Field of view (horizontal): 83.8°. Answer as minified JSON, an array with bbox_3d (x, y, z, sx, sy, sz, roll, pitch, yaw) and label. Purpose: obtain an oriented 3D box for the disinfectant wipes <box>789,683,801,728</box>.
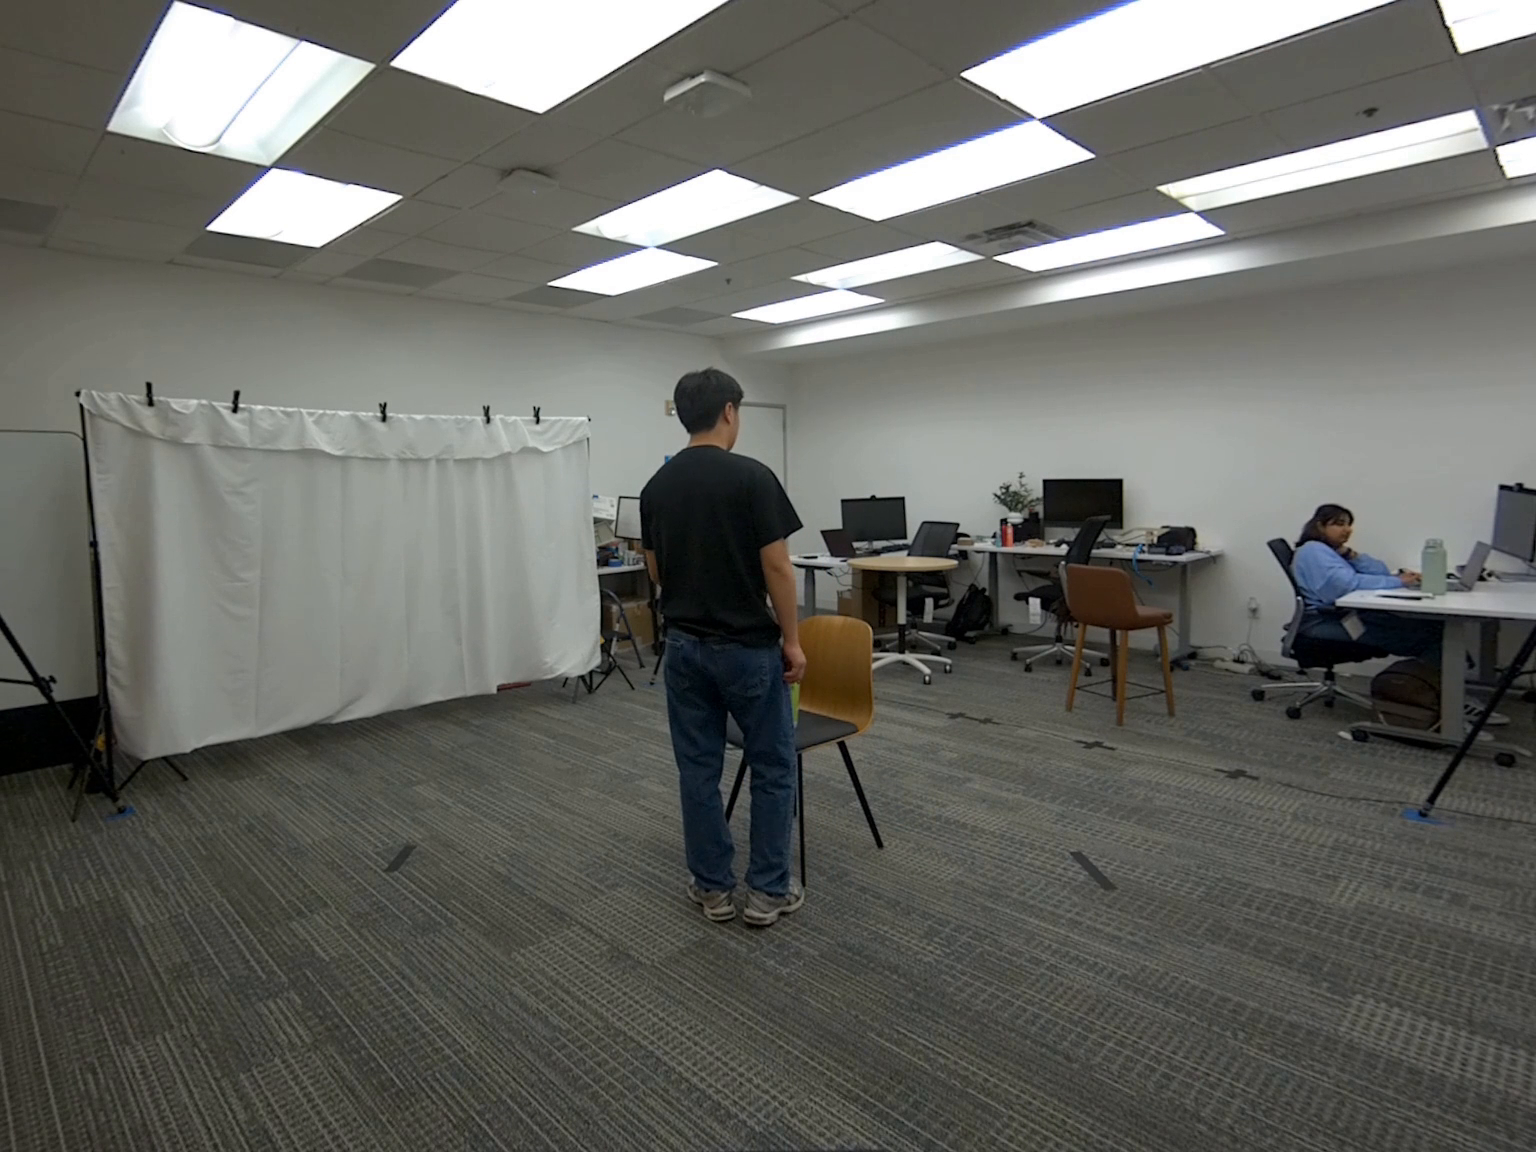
[{"bbox_3d":[0.064,0.451,3.165,0.118,0.217,0.118,3,3,-2],"label":"disinfectant wipes"}]
